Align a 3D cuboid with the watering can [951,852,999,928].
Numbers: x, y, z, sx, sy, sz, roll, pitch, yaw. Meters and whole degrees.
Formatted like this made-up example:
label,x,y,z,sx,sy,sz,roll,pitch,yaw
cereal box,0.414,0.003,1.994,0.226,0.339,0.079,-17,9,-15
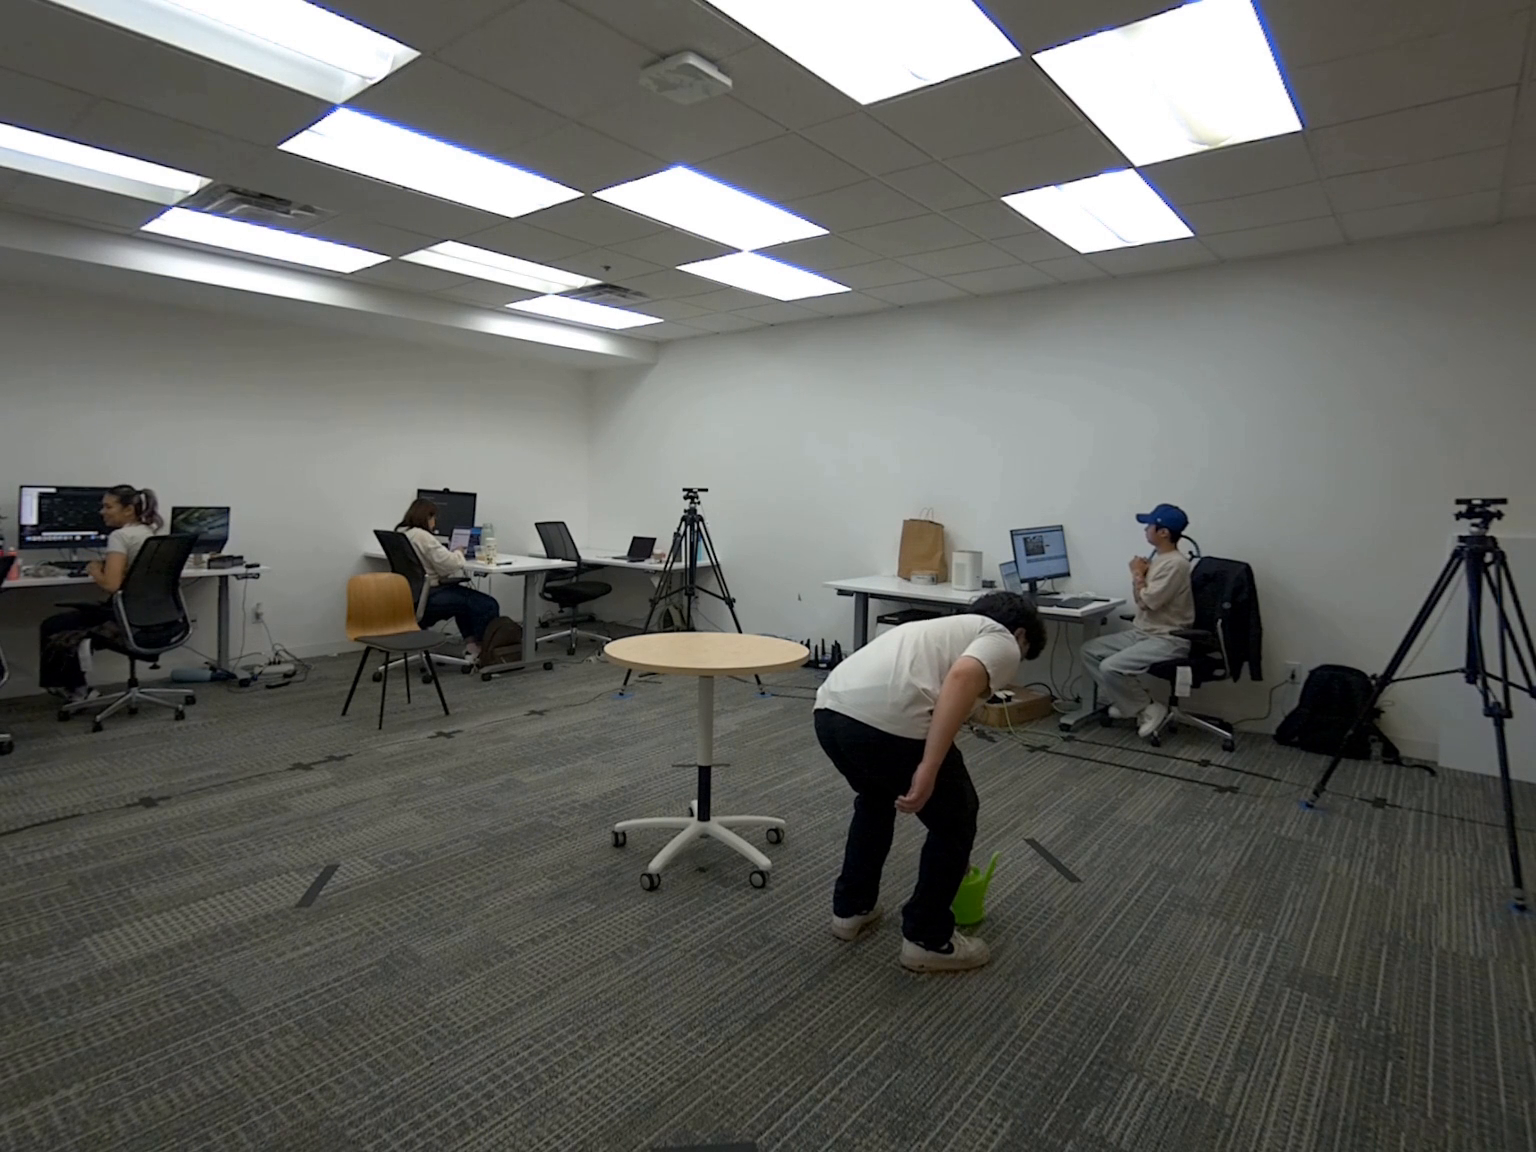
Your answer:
label,x,y,z,sx,sy,sz,roll,pitch,yaw
watering can,0.692,1.032,2.810,0.273,0.176,0.100,-6,7,-19
